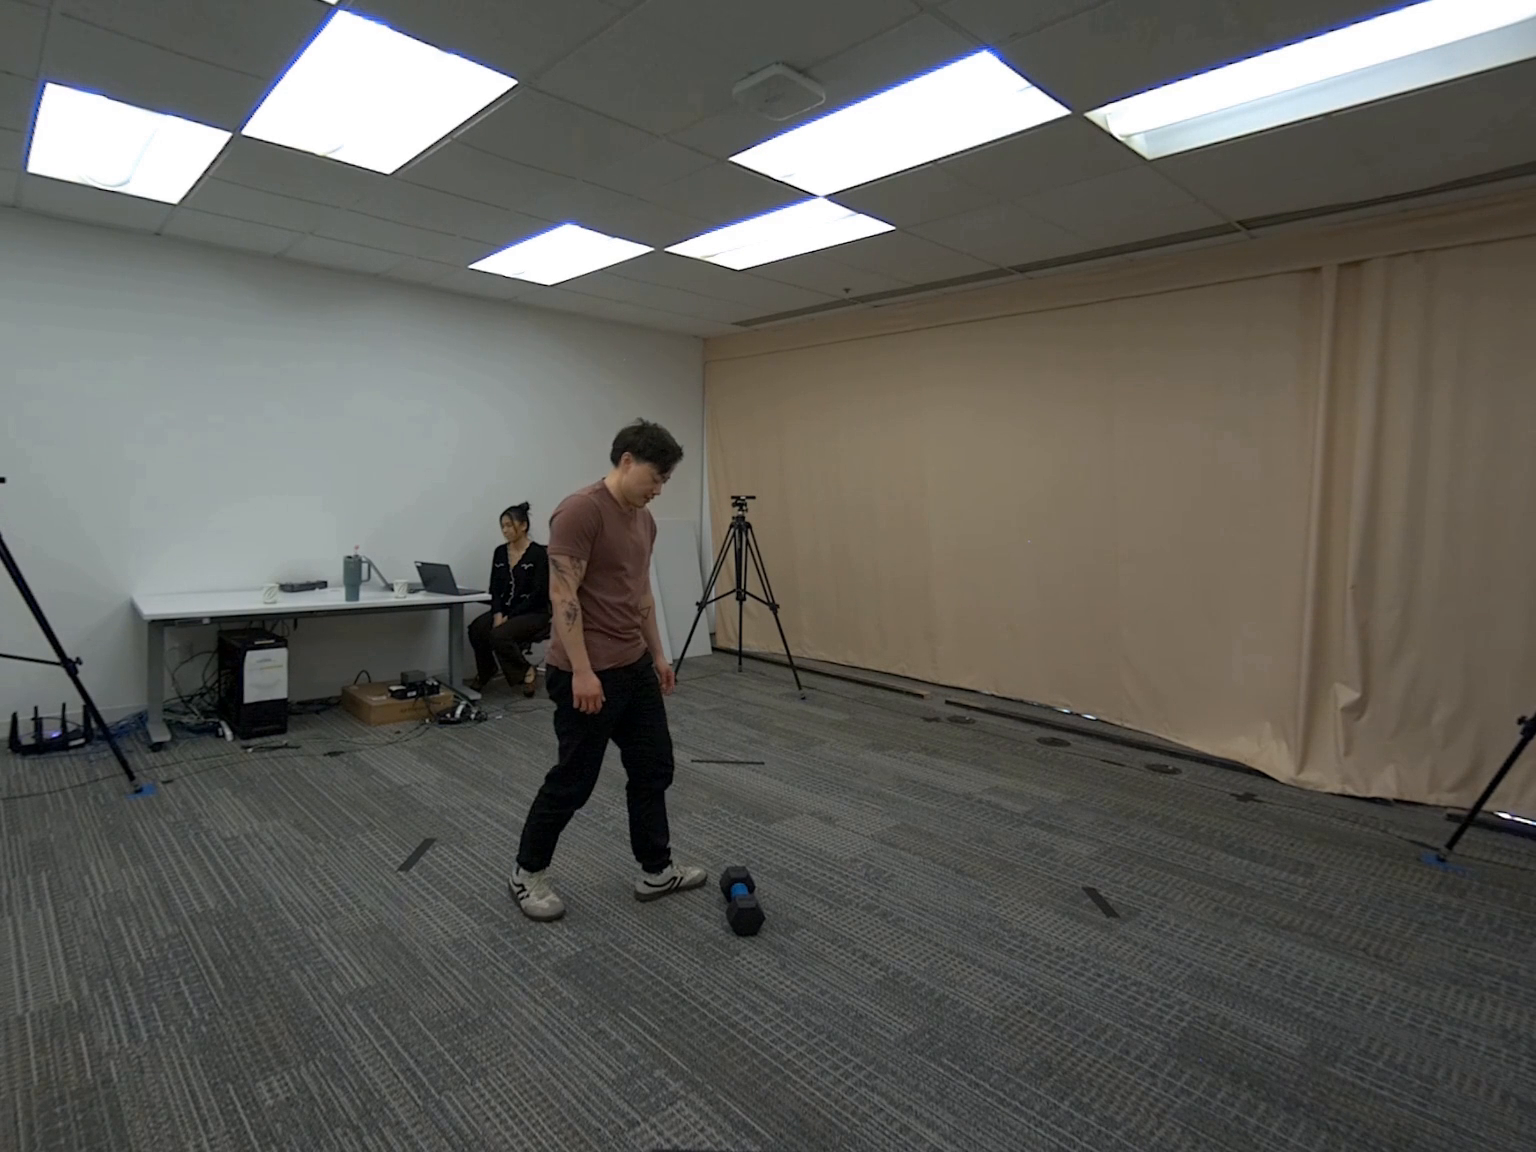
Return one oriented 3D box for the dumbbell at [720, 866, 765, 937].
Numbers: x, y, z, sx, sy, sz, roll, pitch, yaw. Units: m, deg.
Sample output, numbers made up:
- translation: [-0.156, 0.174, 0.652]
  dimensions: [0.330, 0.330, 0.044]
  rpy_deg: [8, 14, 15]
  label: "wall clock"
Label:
- translation: [-0.099, 1.080, 2.798]
  dimensions: [0.108, 0.122, 0.296]
  rpy_deg: [-31, 8, -4]
  label: "dumbbell"
